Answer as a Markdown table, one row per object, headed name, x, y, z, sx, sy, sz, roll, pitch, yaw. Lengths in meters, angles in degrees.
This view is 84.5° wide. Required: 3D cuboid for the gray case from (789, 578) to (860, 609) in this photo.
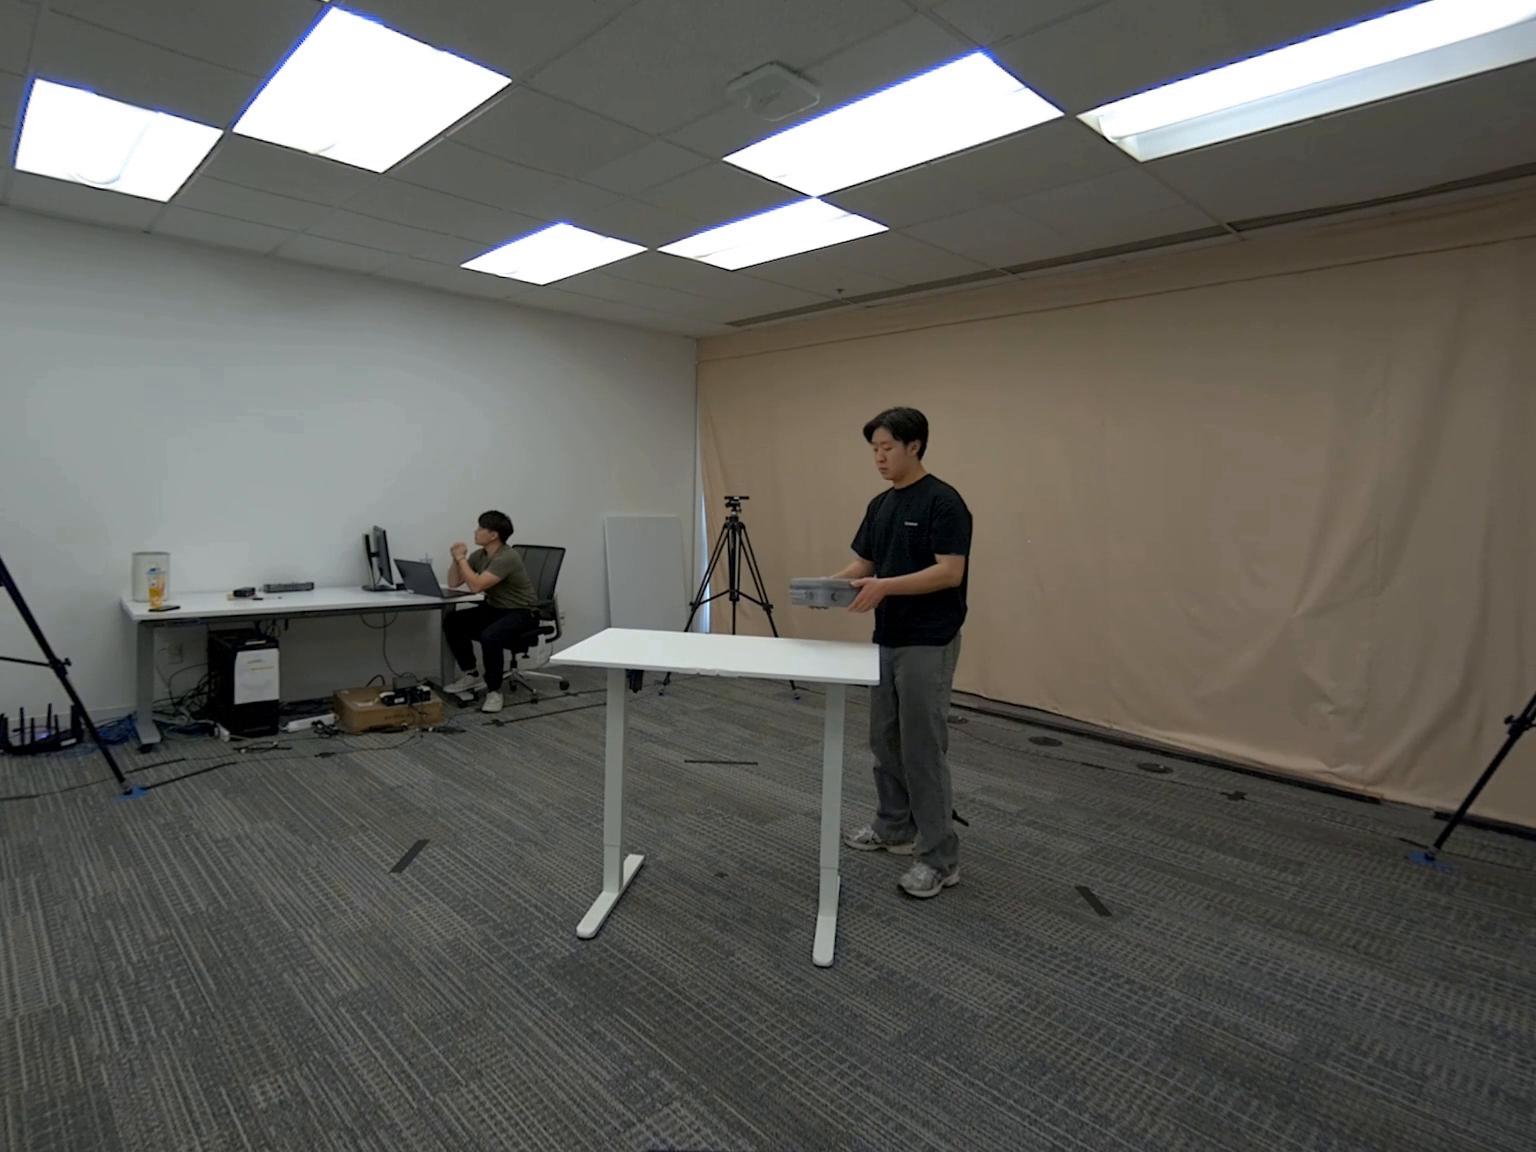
| name | x | y | z | sx | sy | sz | roll | pitch | yaw |
| --- | --- | --- | --- | --- | --- | --- | --- | --- | --- |
| gray case | 0.223 | 0.059 | 3.103 | 0.258 | 0.103 | 0.293 | 1 | 0 | -29 |
